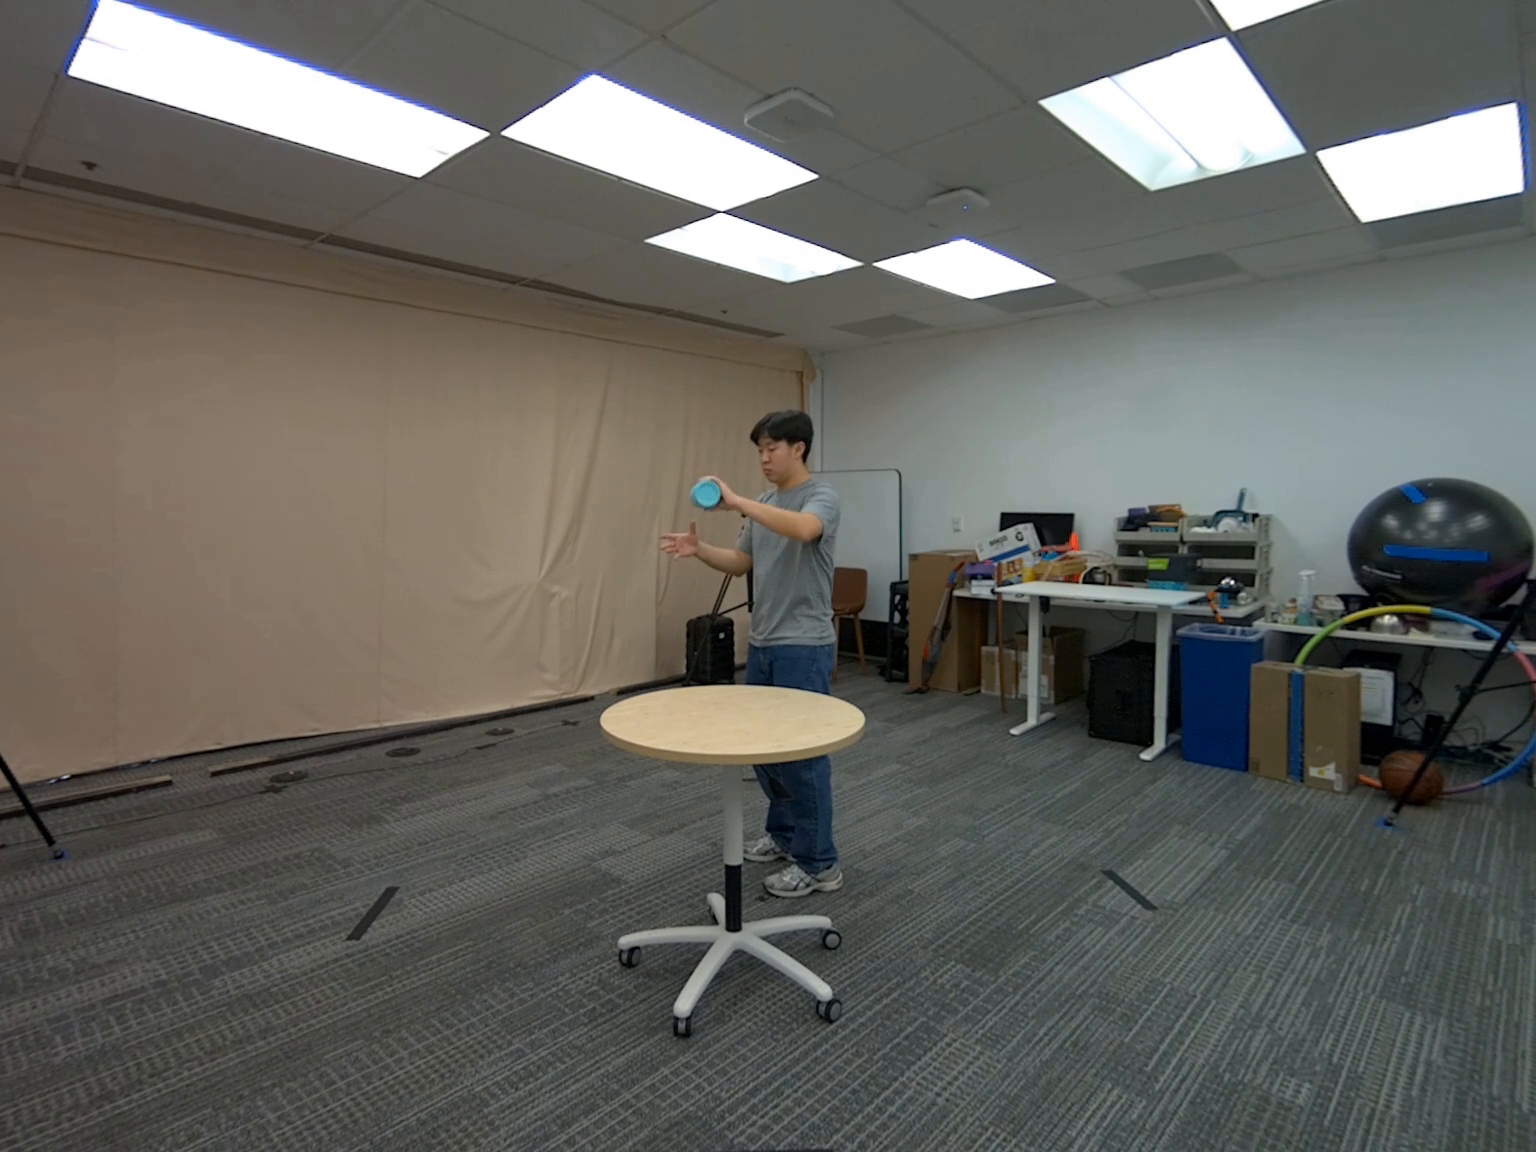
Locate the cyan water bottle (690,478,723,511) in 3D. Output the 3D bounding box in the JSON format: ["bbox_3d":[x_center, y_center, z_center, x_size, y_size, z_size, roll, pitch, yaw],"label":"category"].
[{"bbox_3d":[-0.222,-0.261,2.962,0.091,0.092,0.286,-1,3,-10],"label":"cyan water bottle"}]
